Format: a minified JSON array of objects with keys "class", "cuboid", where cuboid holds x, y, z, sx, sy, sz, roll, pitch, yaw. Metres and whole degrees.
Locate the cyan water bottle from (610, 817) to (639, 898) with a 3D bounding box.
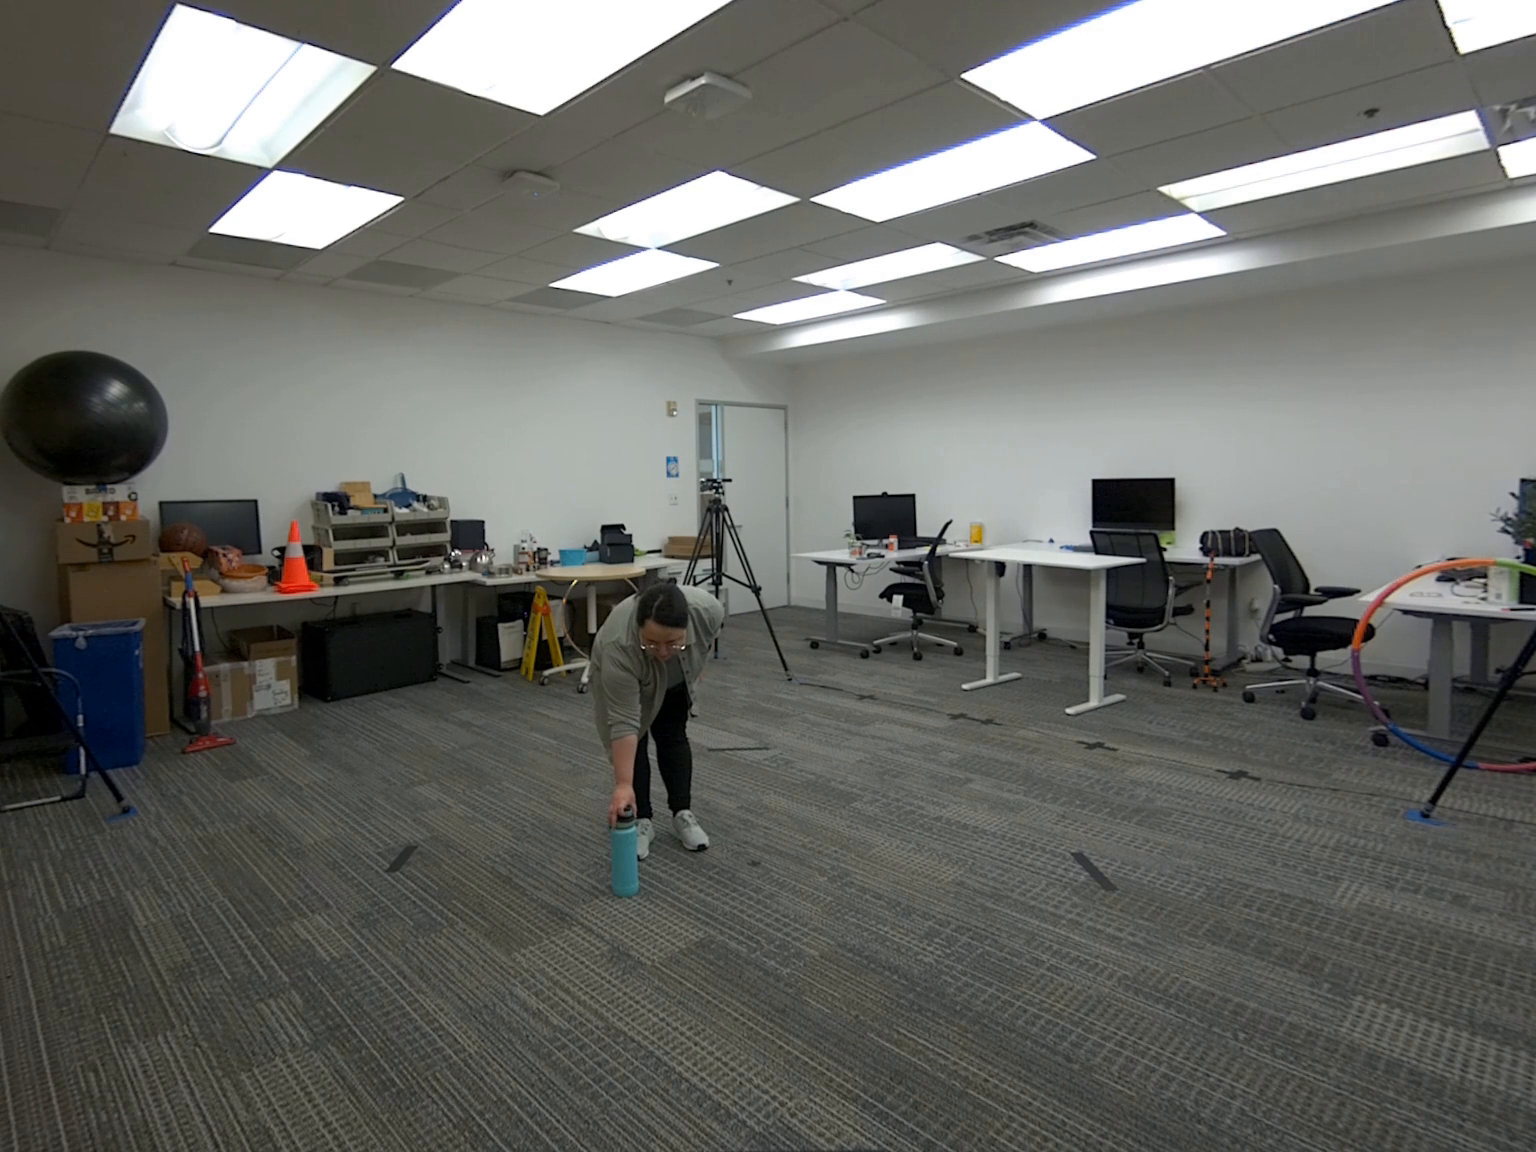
[{"class":"cyan water bottle","cuboid":[-0.500,0.934,2.906,0.092,0.282,0.093,-3,4,-1]}]
